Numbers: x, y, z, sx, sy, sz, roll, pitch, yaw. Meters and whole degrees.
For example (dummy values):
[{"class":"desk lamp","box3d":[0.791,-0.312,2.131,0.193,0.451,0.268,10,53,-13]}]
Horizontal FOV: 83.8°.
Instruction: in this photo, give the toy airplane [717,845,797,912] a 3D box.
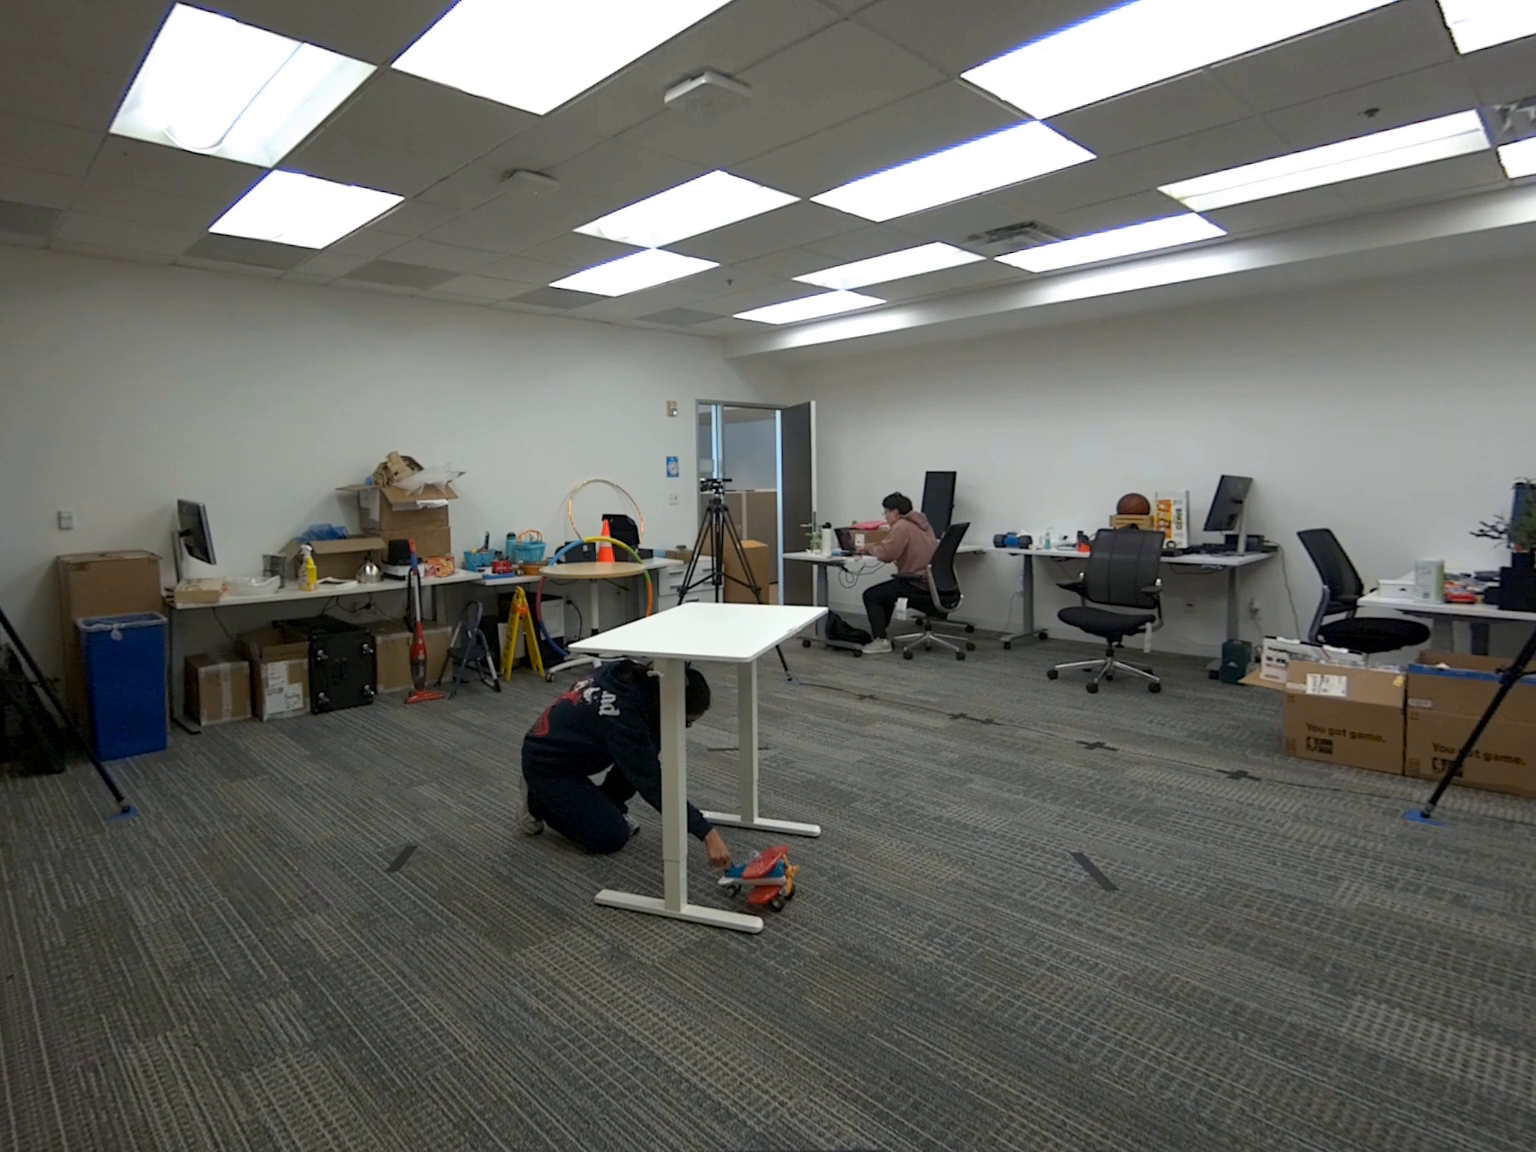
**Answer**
[{"class":"toy airplane","box3d":[-0.039,1.009,2.808,0.259,0.156,0.252,0,6,-2]}]
